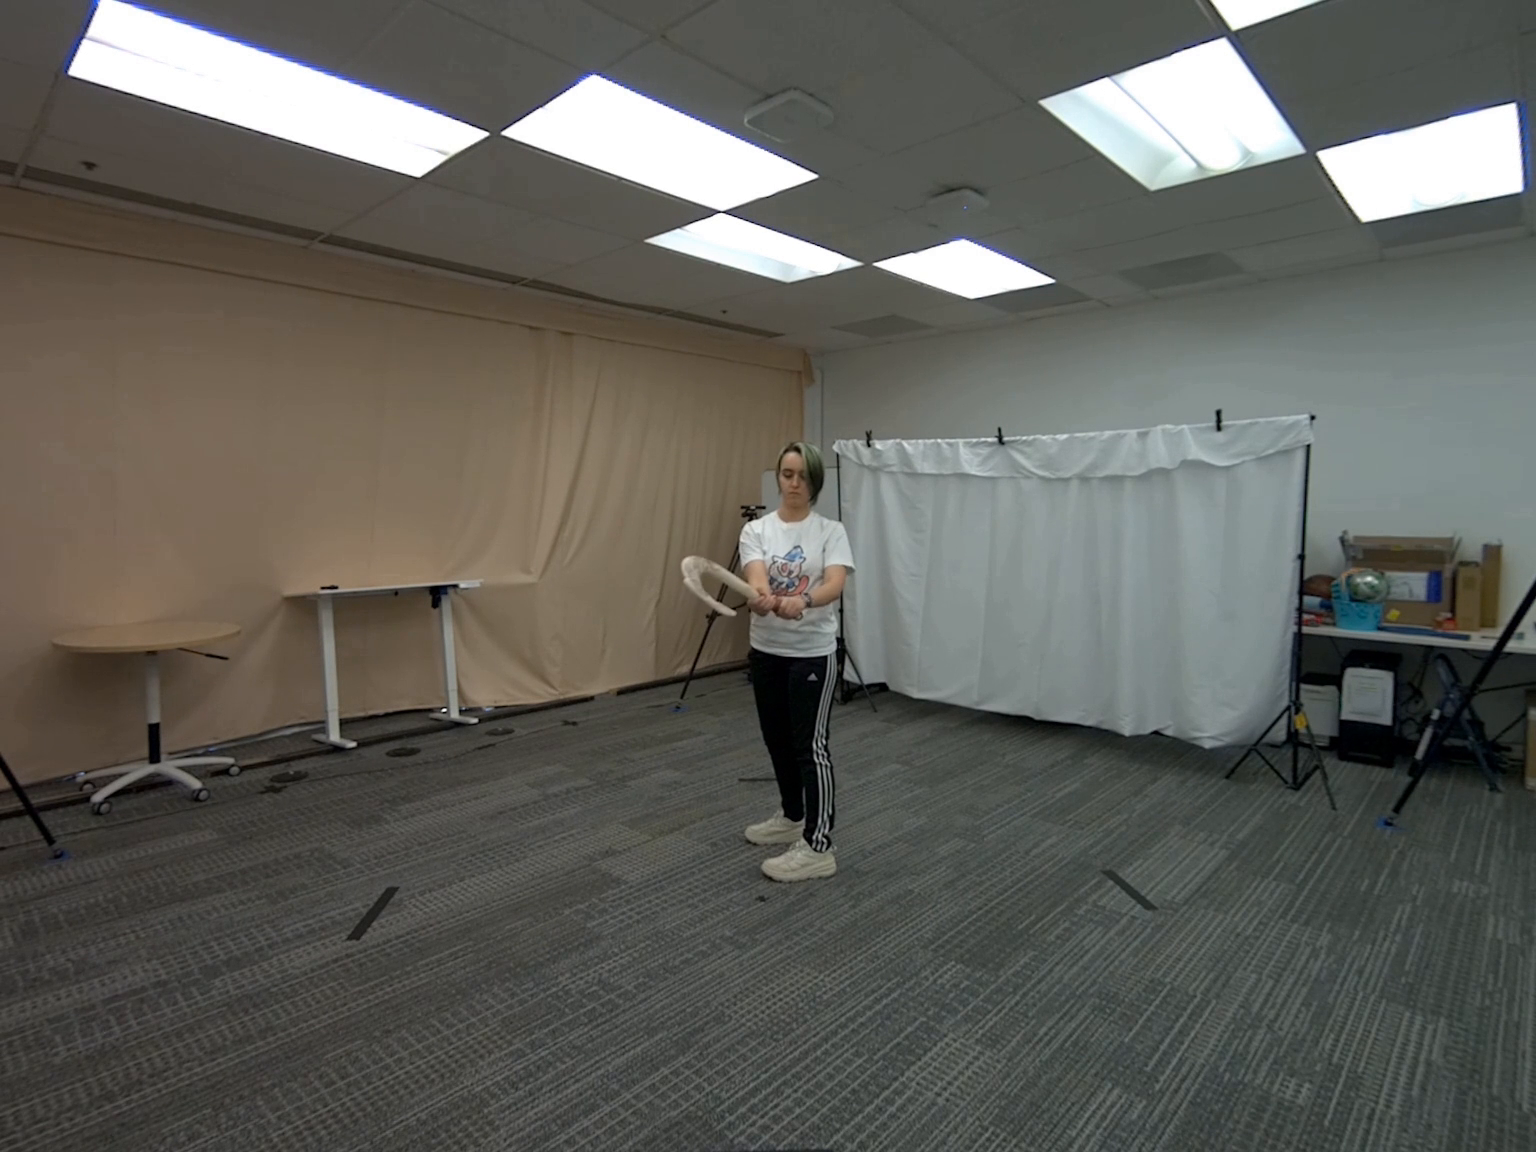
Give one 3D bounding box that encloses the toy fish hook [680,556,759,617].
[{"bbox_3d":[-0.070,0.093,2.714,0.491,0.229,0.049,26,-53,-28],"label":"toy fish hook"}]
